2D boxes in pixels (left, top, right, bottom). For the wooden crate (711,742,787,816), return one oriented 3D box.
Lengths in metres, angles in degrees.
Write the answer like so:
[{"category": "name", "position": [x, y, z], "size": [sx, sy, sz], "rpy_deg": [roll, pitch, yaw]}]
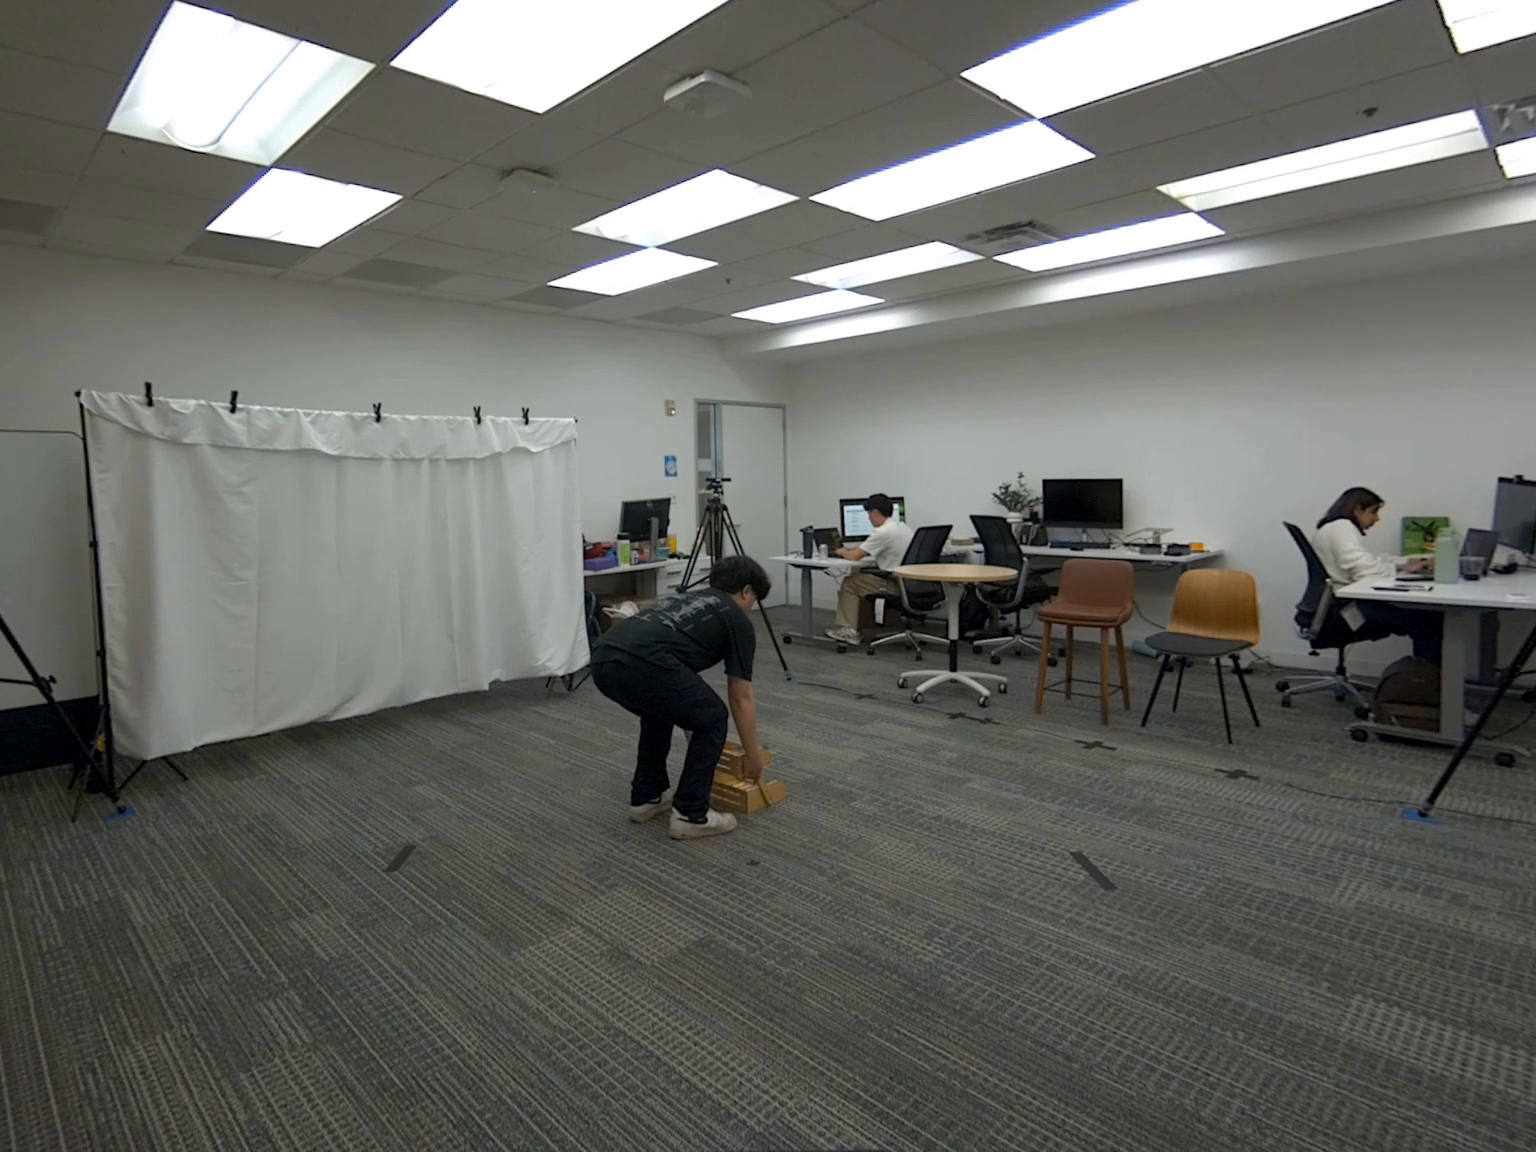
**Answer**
[{"category": "wooden crate", "position": [-0.130, 0.834, 3.729], "size": [0.334, 0.272, 0.294], "rpy_deg": [3, 7, 43]}]
